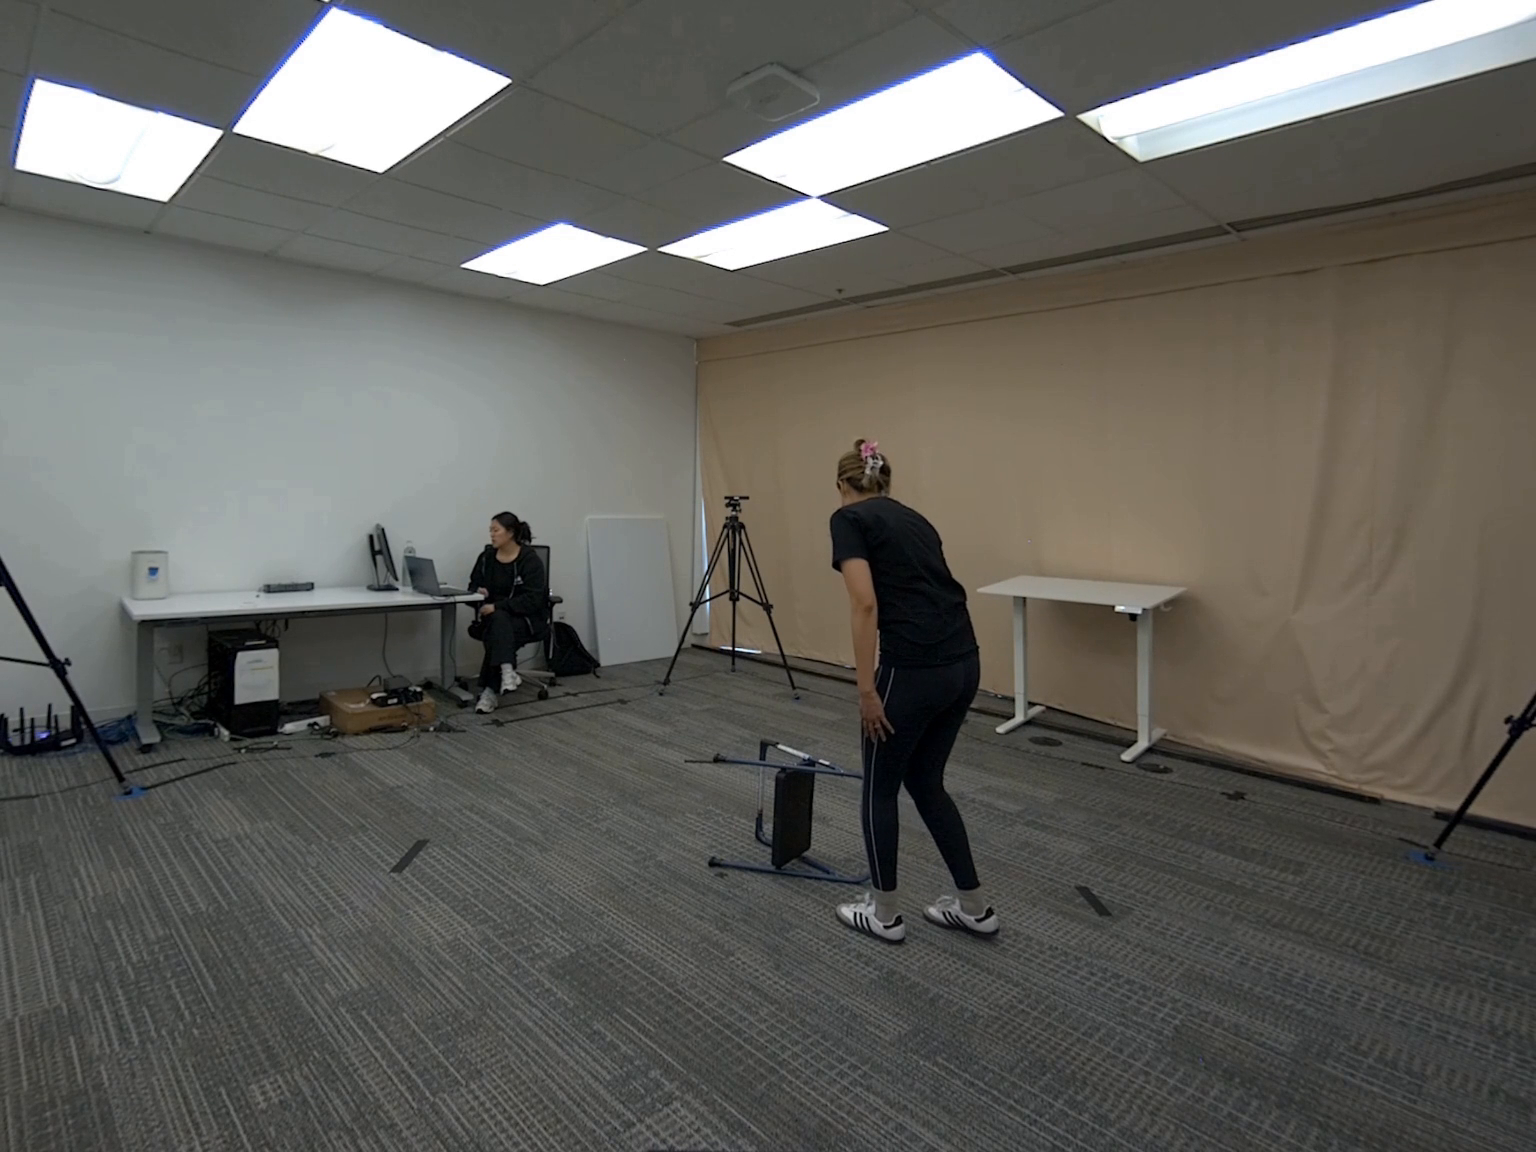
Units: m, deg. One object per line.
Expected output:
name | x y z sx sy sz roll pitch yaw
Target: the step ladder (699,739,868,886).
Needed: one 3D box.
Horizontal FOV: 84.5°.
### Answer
step ladder | 0.133 0.904 3.133 0.620 0.429 0.342 6 6 33
